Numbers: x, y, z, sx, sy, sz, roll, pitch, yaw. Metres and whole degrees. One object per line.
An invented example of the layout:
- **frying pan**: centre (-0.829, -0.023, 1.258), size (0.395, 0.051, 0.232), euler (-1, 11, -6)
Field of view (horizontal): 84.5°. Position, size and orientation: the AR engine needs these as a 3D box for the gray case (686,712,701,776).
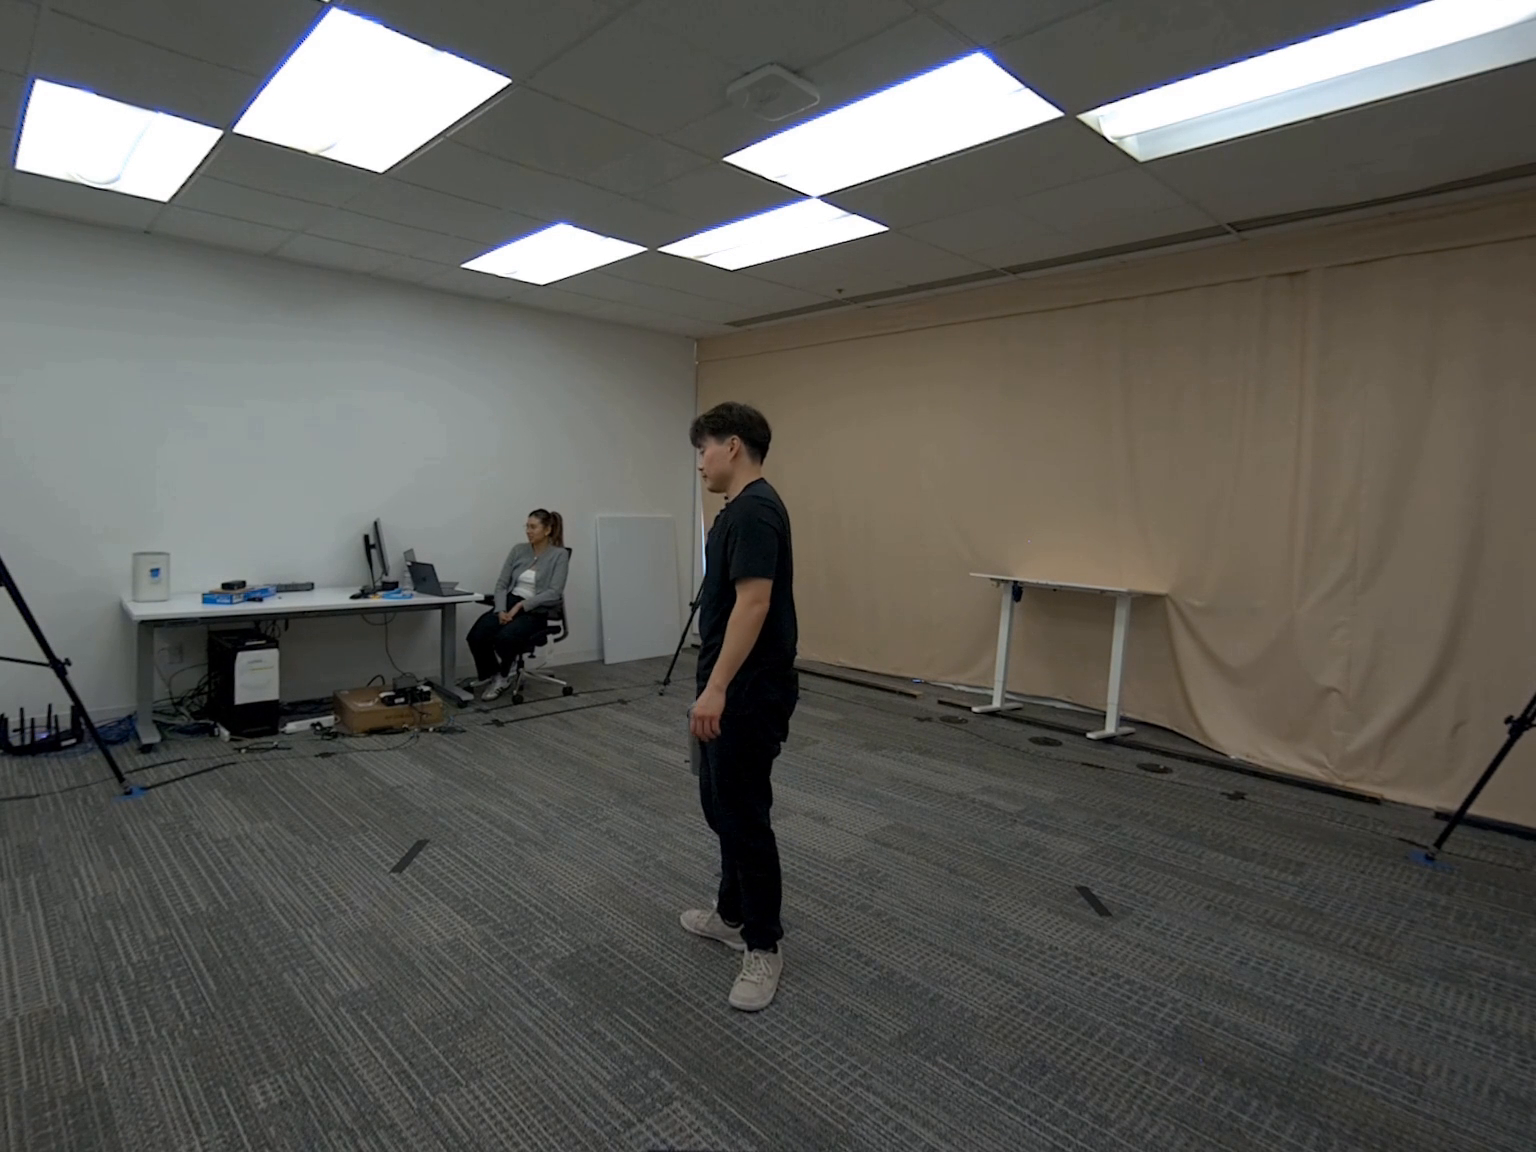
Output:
- **gray case**: centre (-0.140, 0.544, 2.825), size (0.258, 0.259, 0.104), euler (2, 8, 7)
